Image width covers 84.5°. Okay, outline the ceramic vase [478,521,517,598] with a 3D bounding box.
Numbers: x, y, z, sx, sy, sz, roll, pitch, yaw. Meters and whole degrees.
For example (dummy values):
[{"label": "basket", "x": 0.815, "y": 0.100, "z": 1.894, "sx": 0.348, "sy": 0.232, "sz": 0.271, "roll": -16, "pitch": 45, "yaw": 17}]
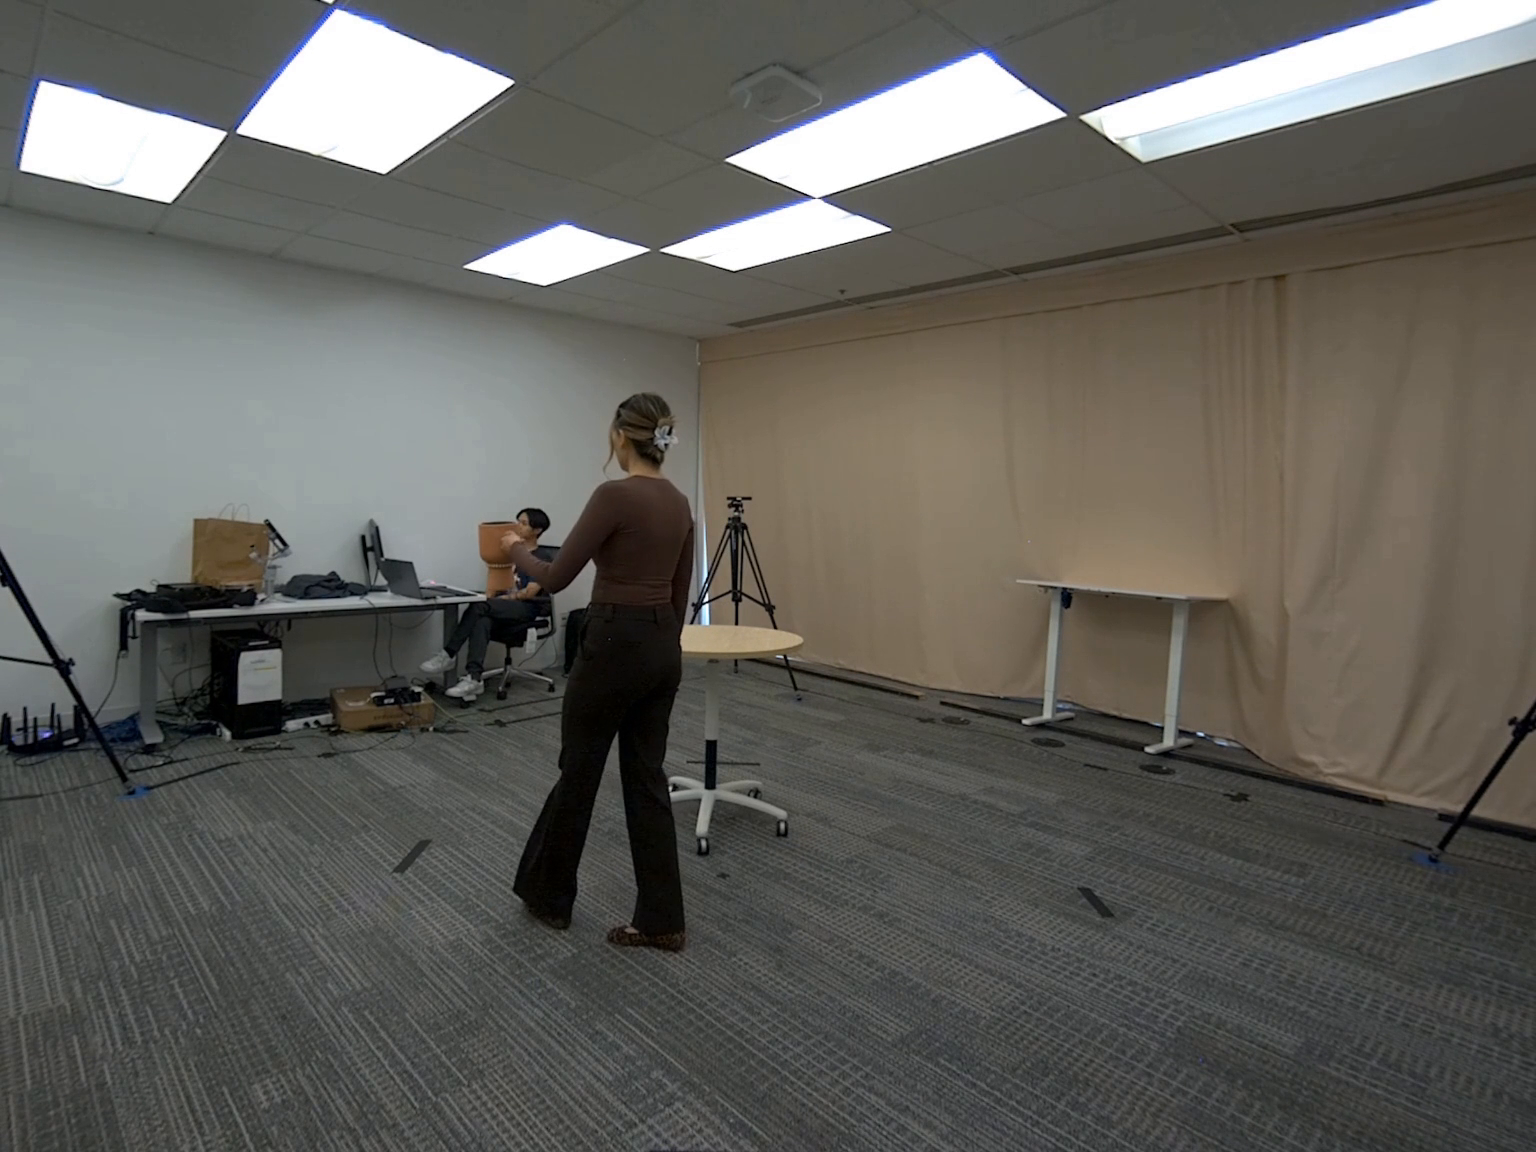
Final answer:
[{"label": "ceramic vase", "x": -0.907, "y": -0.068, "z": 2.810, "sx": 0.134, "sy": 0.218, "sz": 0.160, "roll": 1, "pitch": 7, "yaw": -1}]
